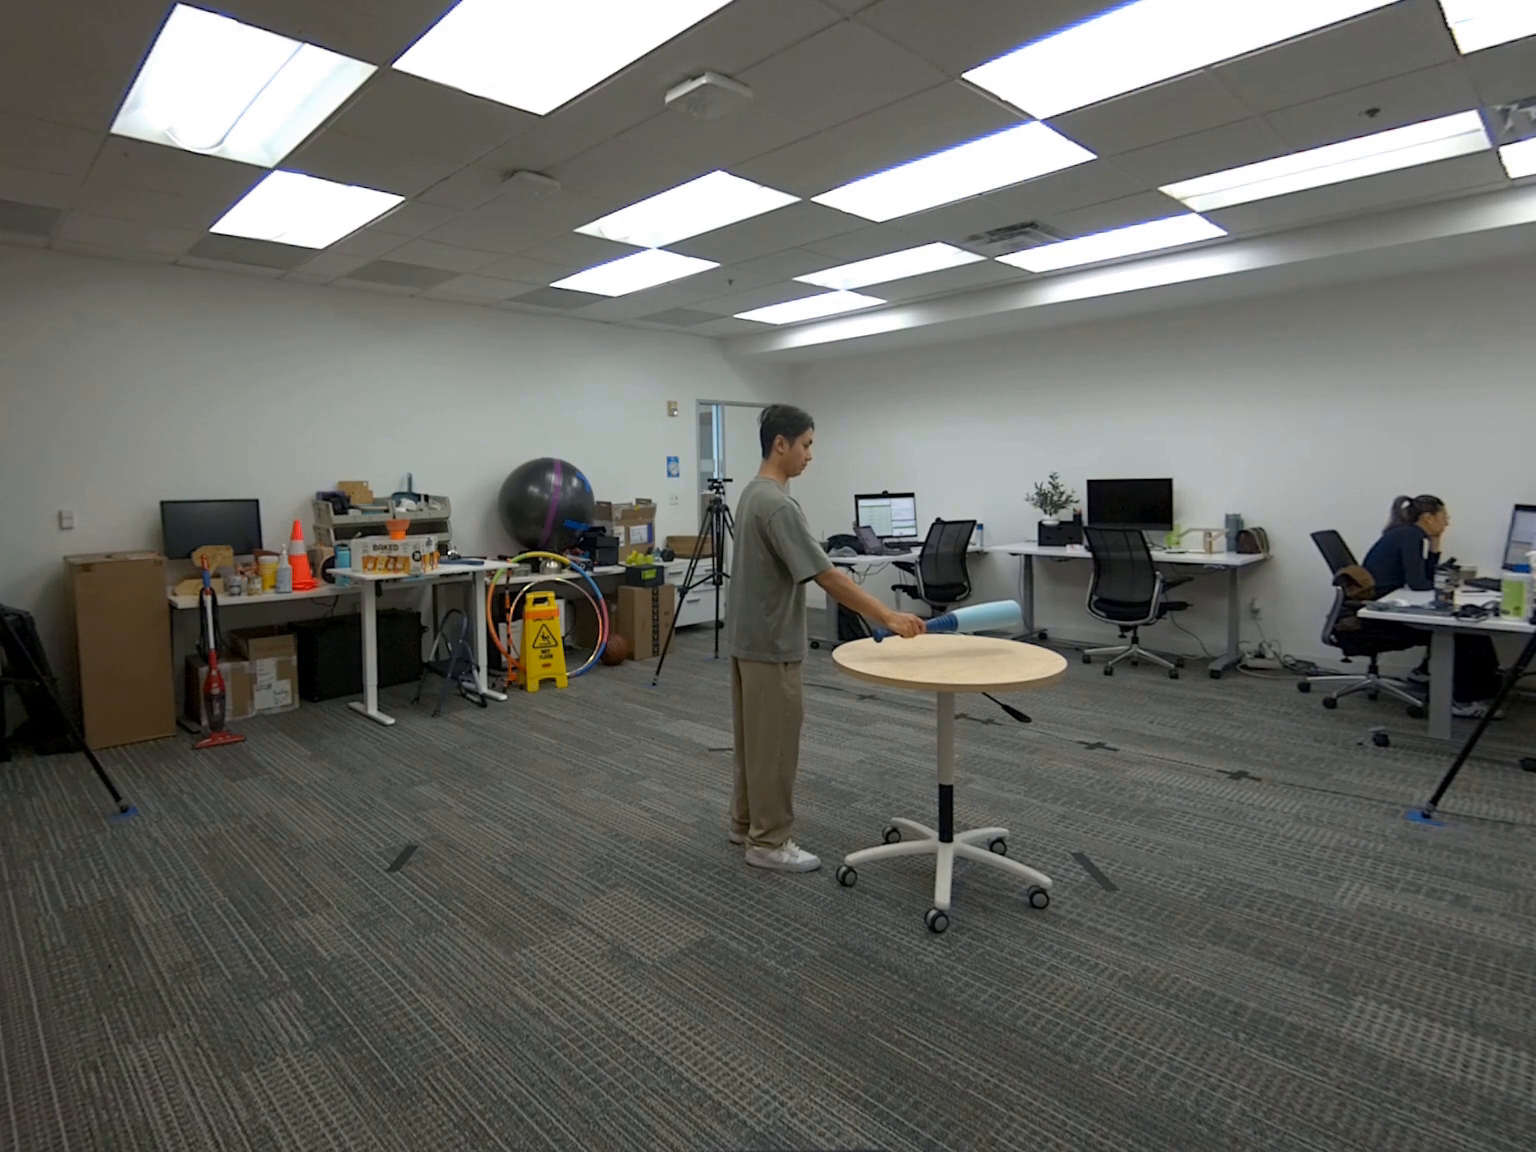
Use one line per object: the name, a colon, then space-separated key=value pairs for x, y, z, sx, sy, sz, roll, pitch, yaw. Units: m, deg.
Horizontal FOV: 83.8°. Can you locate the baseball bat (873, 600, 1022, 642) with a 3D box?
baseball bat: x=0.611 y=0.165 z=2.897 sx=0.537 sy=0.088 sz=0.090 roll=-8 pitch=6 yaw=-12
